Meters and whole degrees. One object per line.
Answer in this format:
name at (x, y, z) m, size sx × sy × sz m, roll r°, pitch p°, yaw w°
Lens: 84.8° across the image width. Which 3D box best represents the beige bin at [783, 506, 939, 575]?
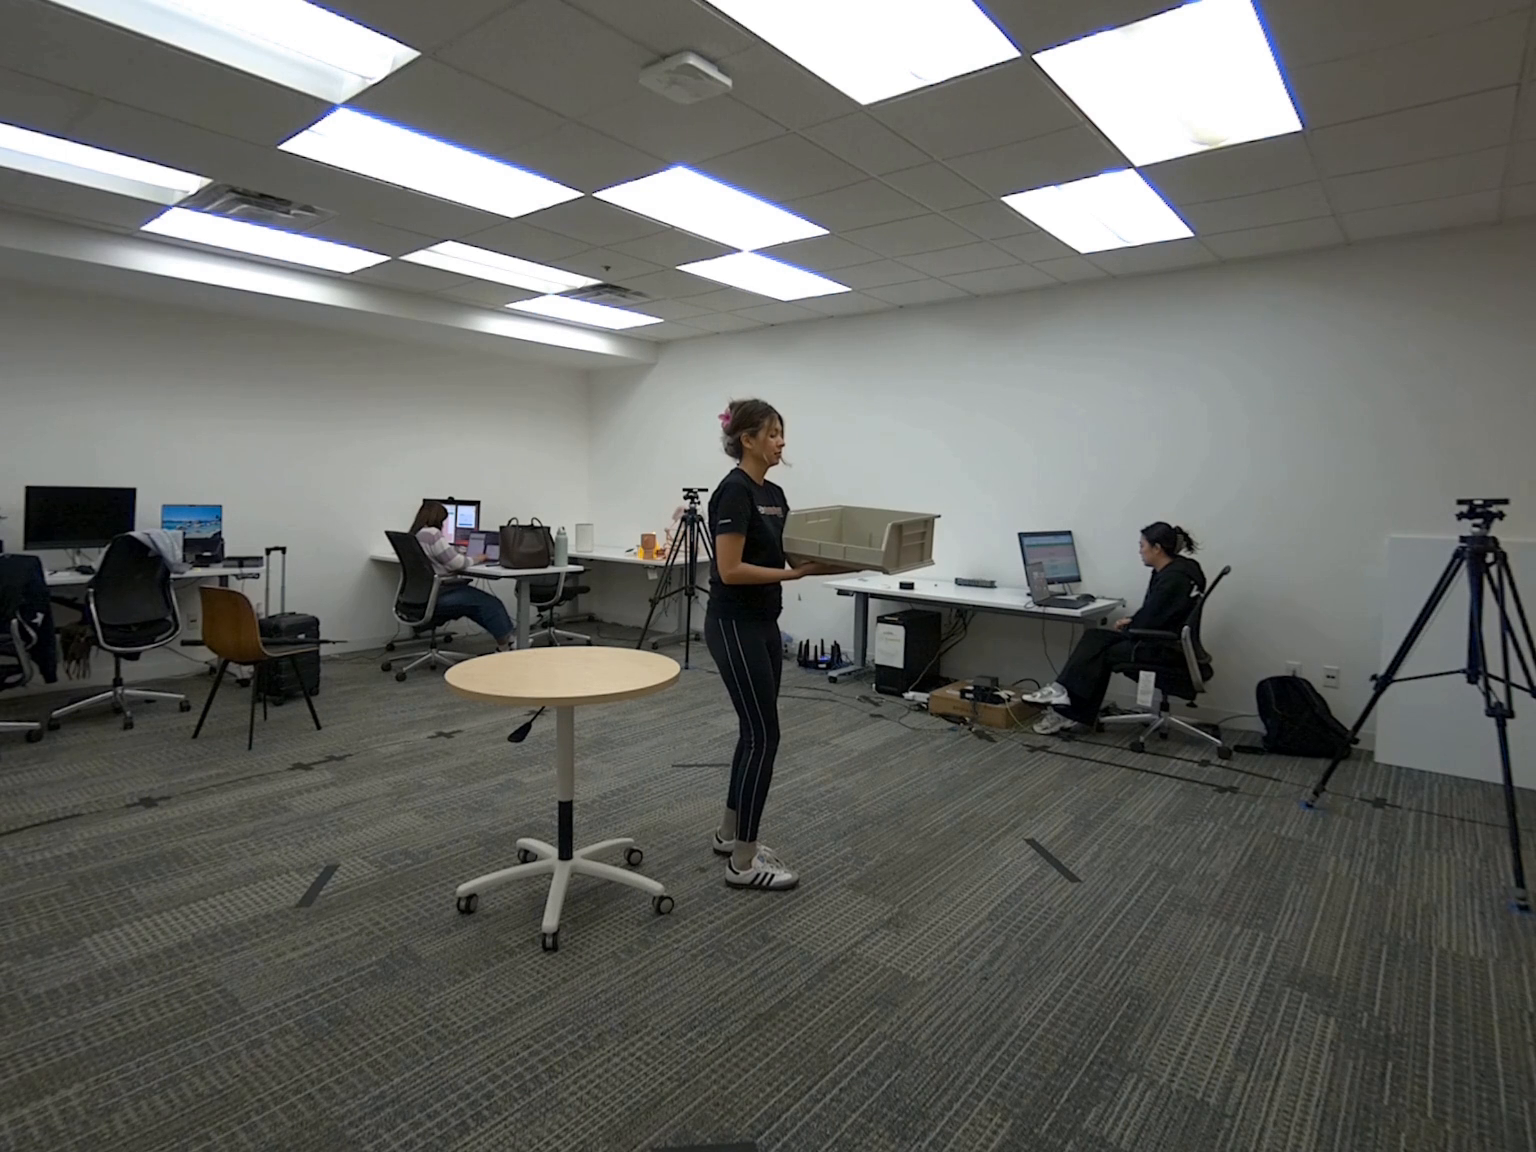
beige bin at (0.322, -0.134, 3.022) m, size 0.437 × 0.187 × 0.367 m, roll 10°, pitch 12°, yaw 39°
